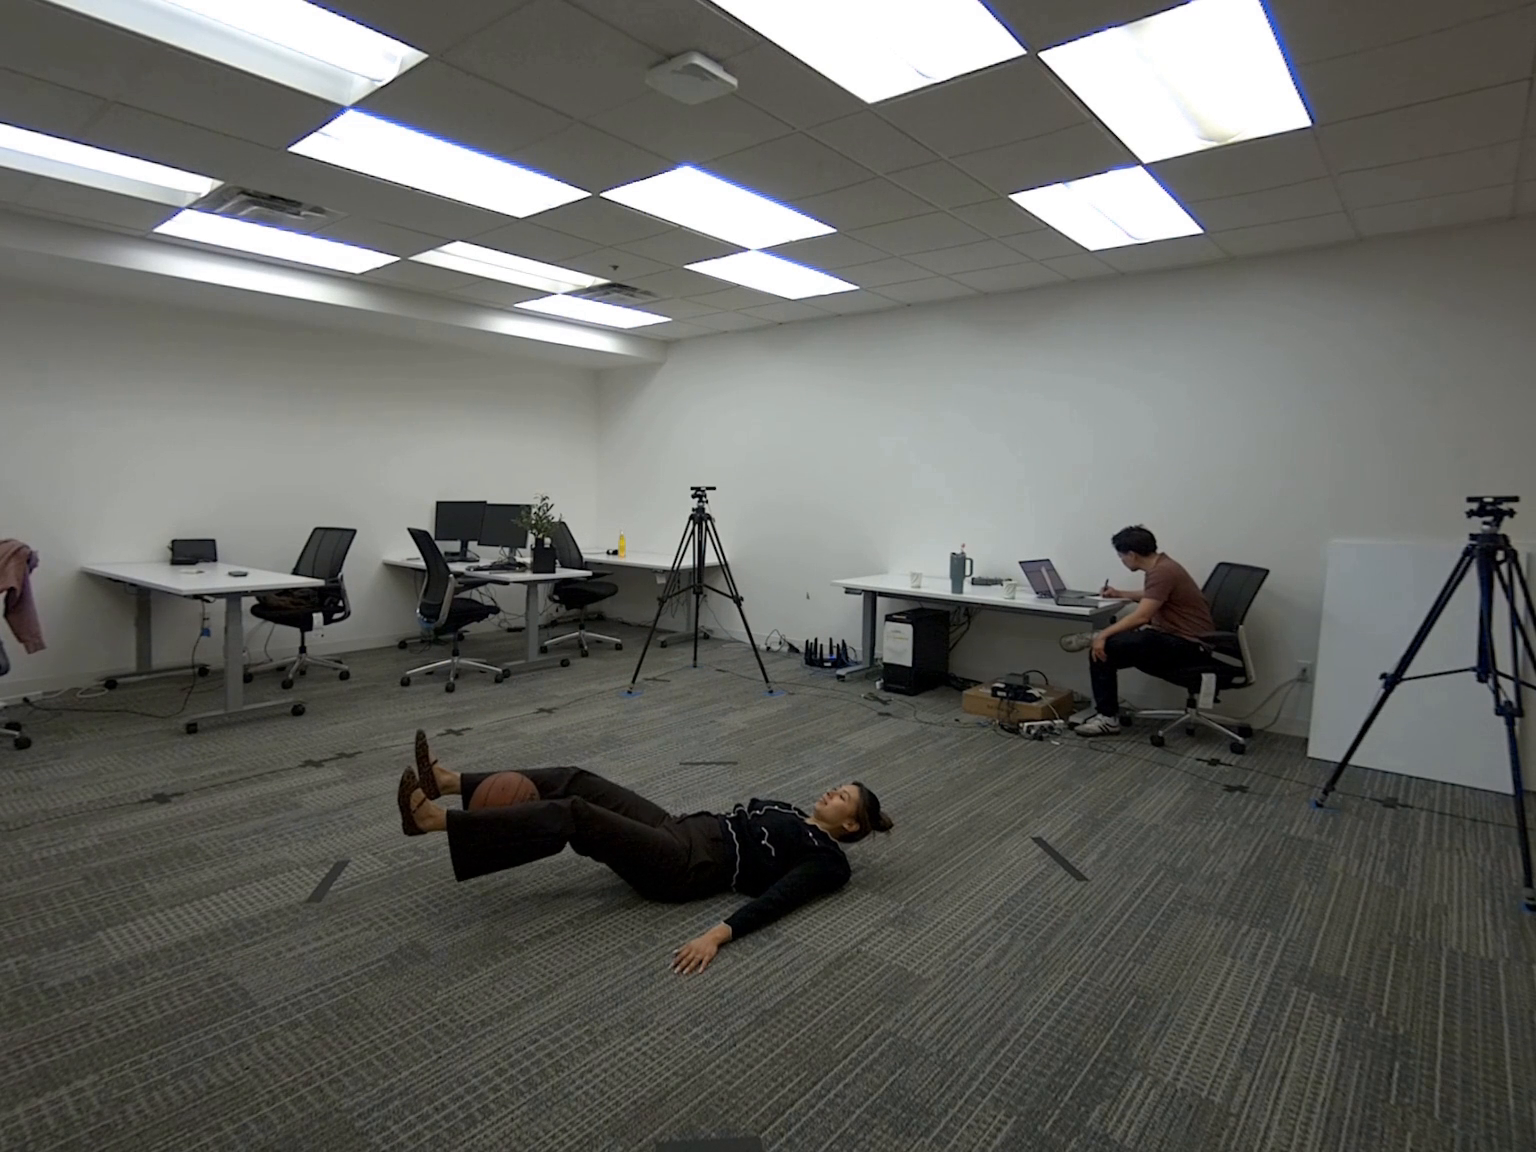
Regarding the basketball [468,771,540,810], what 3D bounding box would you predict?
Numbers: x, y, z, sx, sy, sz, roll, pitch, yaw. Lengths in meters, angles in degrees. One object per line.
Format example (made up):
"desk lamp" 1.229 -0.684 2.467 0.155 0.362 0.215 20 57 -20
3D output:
"basketball" -0.895 0.781 2.870 0.236 0.235 0.237 1 4 -2
